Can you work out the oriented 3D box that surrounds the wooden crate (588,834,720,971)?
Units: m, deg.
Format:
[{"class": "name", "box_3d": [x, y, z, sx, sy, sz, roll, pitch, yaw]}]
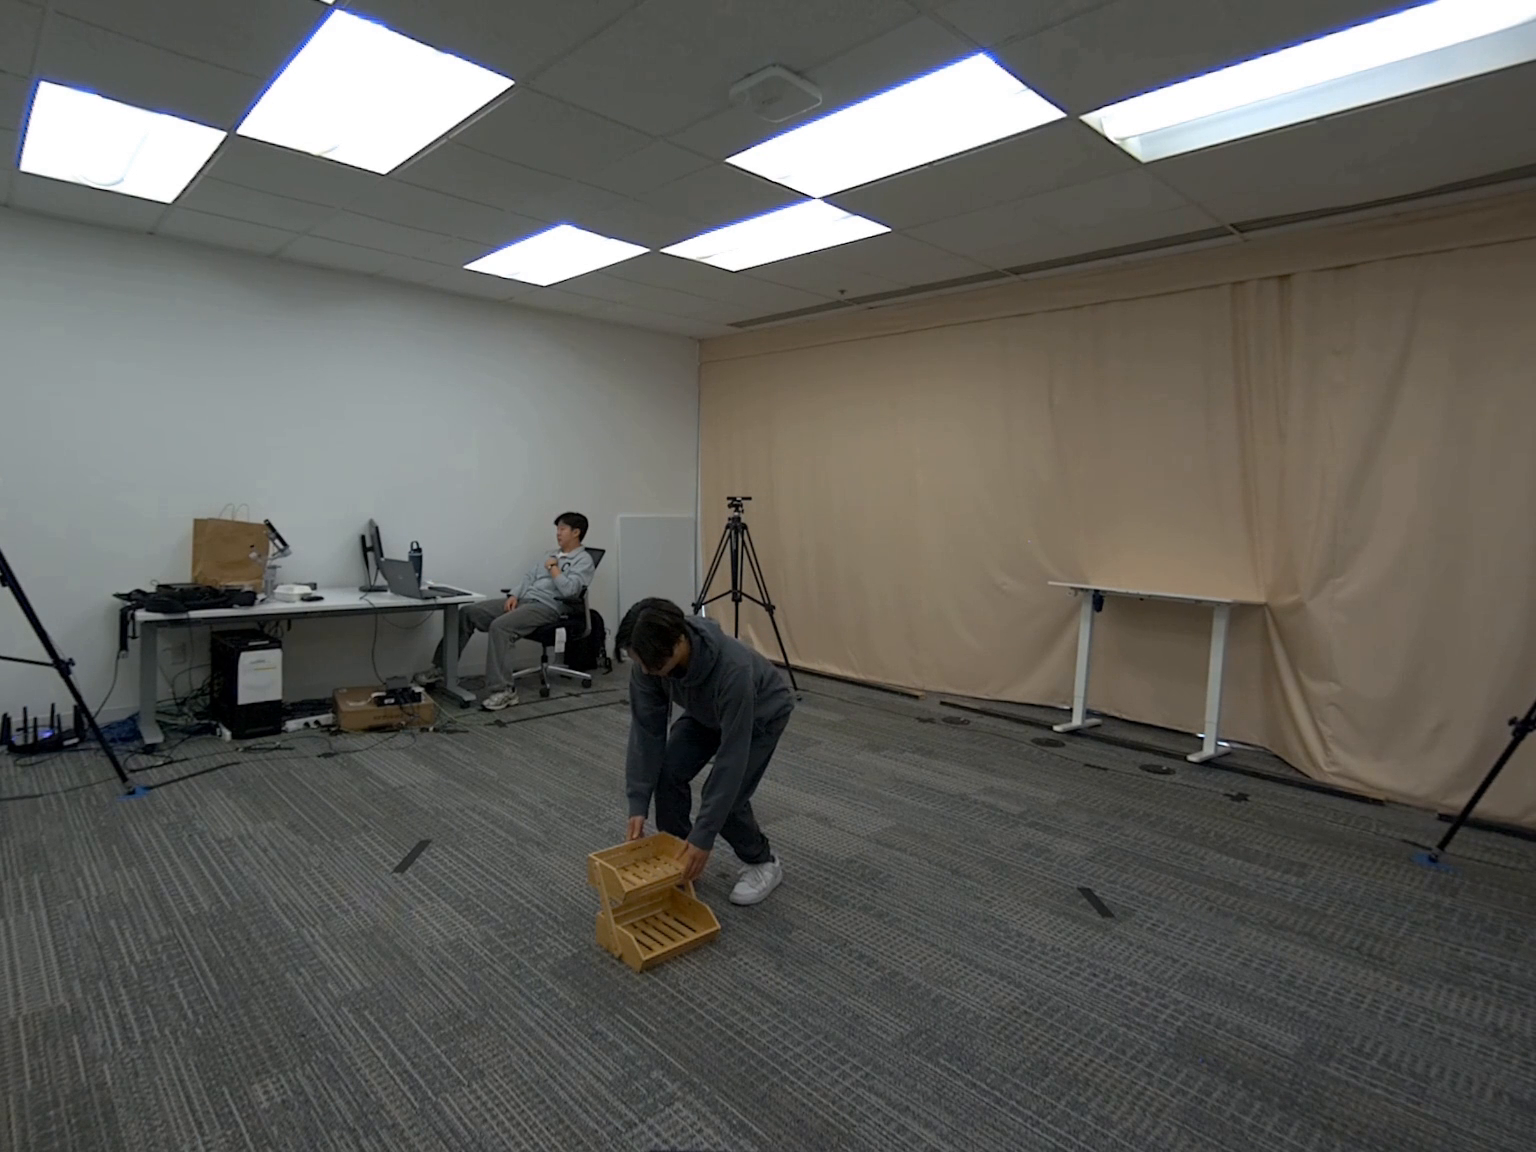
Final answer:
[{"class": "wooden crate", "box_3d": [-0.361, 1.010, 2.643, 0.317, 0.273, 0.309, -2, 4, -44]}]
